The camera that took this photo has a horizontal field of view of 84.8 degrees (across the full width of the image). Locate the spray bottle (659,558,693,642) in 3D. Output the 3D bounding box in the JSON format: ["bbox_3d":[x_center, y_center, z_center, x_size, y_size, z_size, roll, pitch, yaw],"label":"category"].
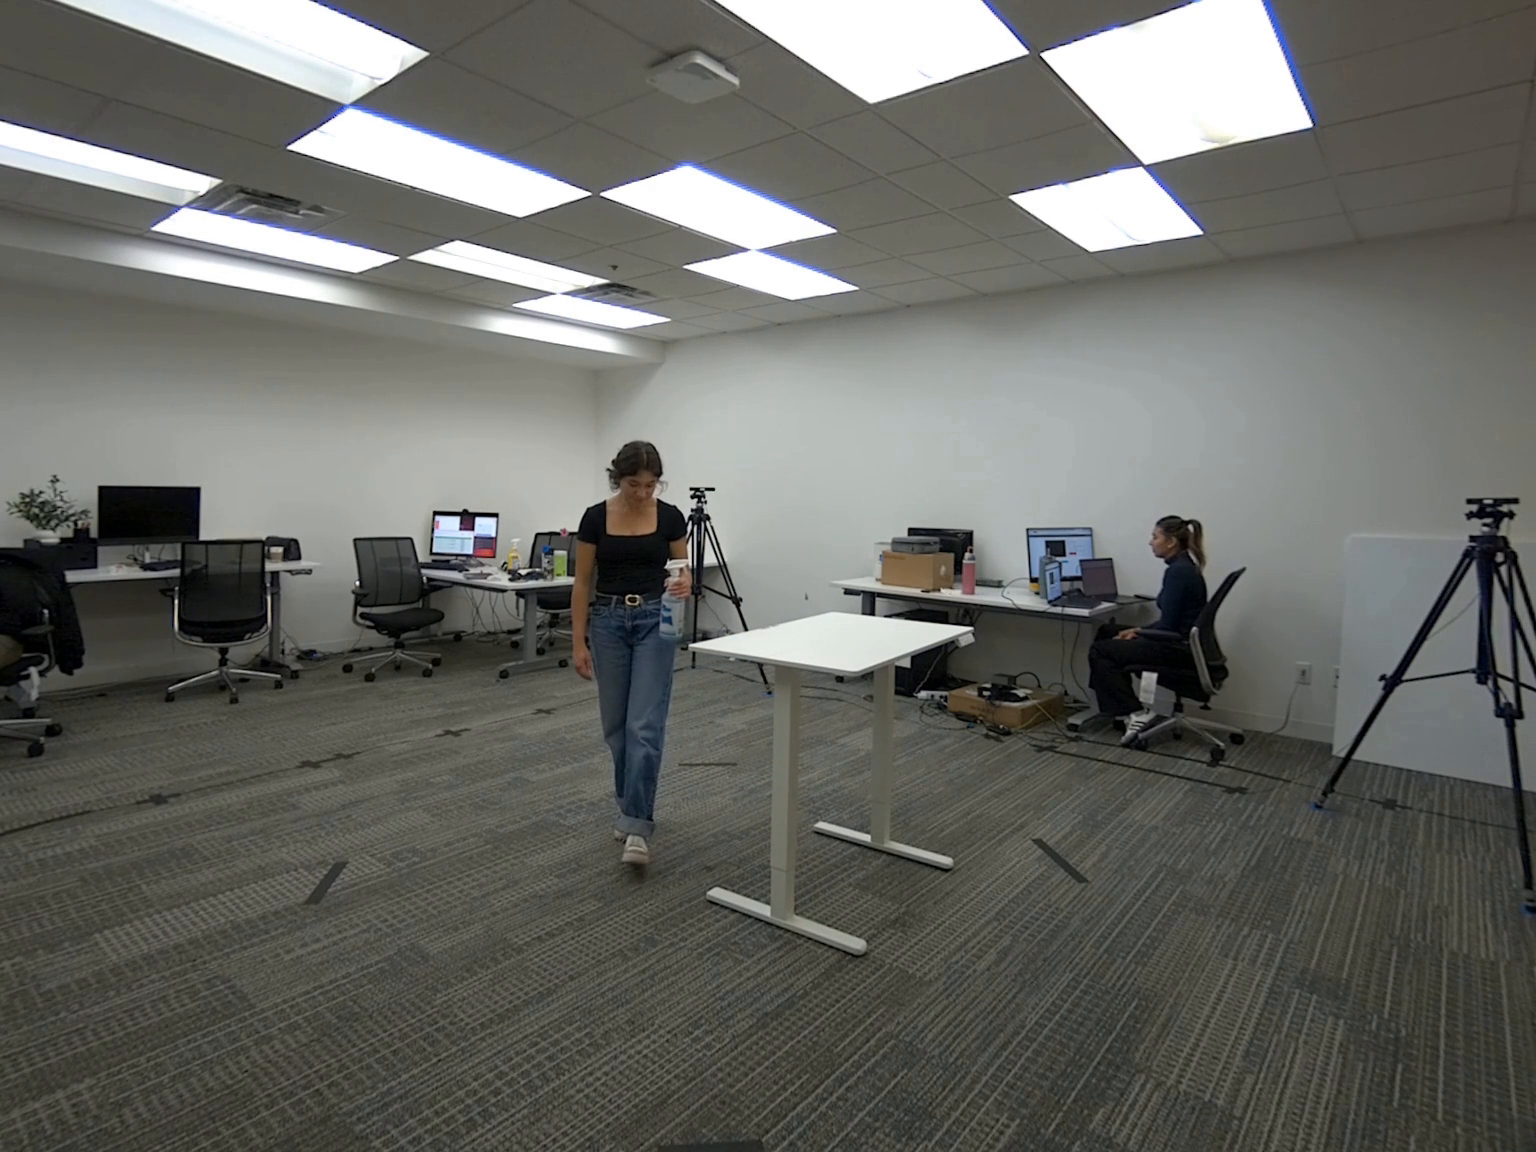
[{"bbox_3d":[-0.364,0.083,3.157,0.090,0.295,0.087,2,9,1],"label":"spray bottle"}]
